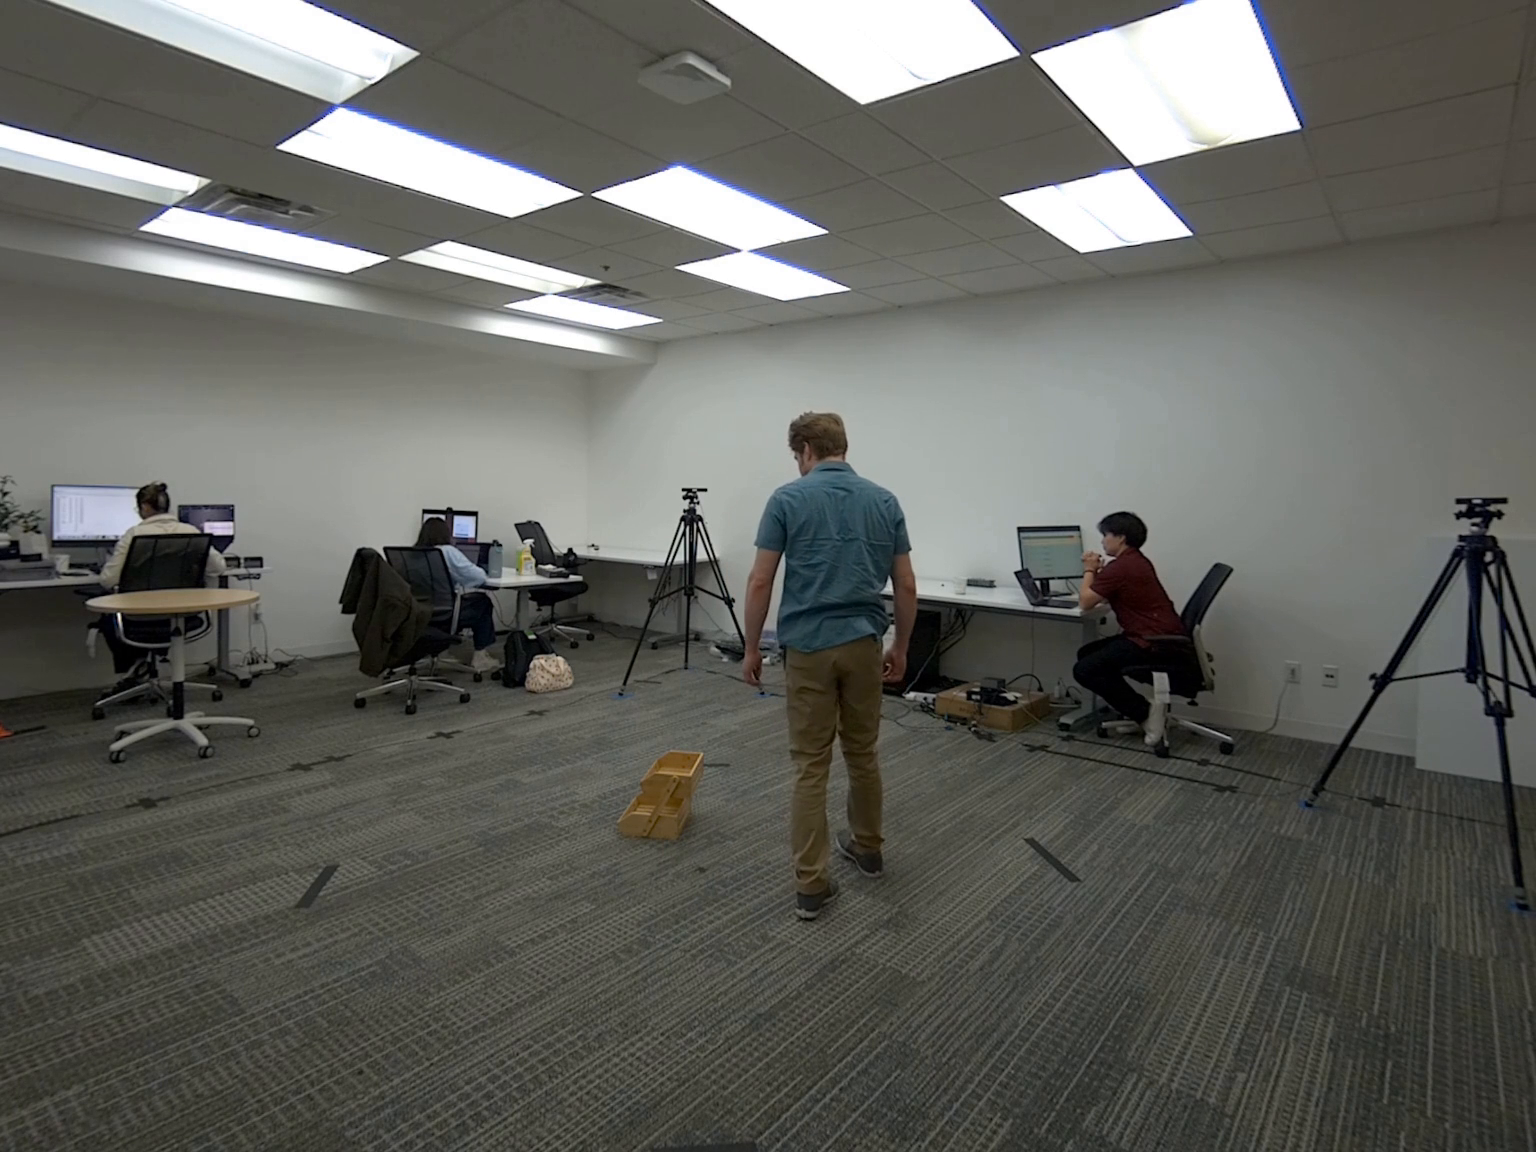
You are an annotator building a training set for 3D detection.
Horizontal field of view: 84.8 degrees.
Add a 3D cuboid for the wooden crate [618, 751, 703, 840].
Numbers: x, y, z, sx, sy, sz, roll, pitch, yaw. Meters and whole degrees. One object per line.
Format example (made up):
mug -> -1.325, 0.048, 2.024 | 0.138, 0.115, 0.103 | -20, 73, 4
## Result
wooden crate -> -0.462, 0.892, 3.529 | 0.304, 0.272, 0.323 | 2, 5, 6
